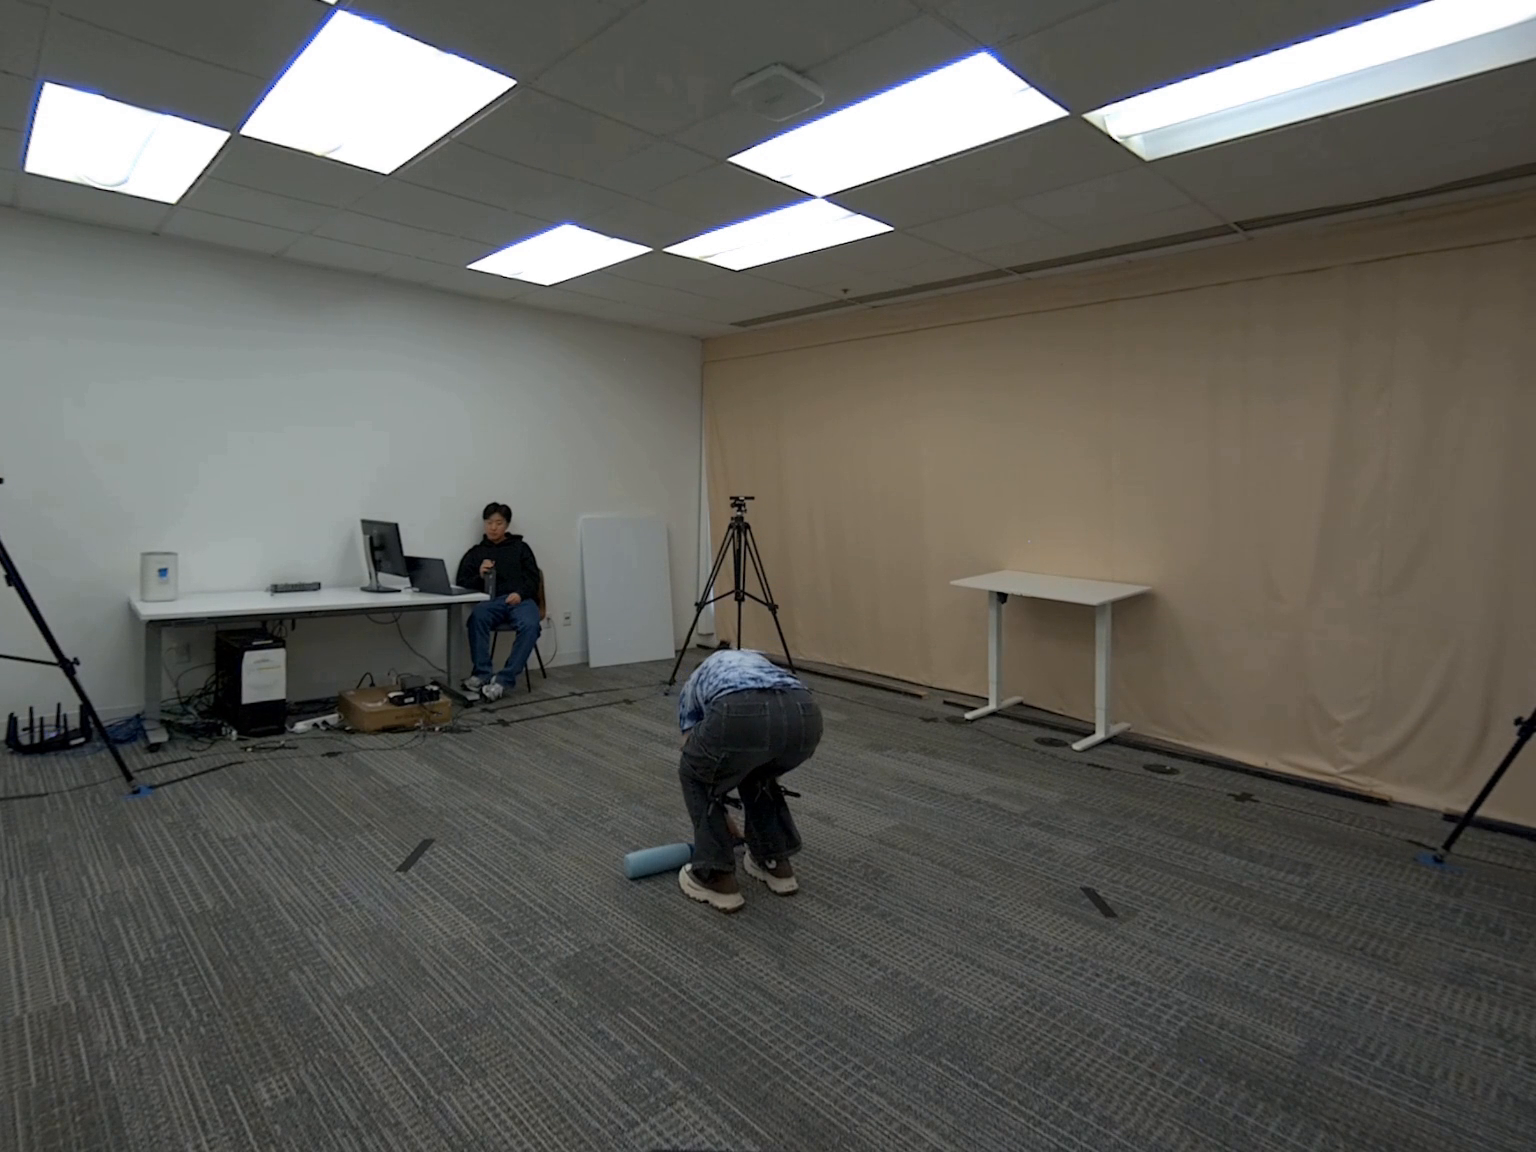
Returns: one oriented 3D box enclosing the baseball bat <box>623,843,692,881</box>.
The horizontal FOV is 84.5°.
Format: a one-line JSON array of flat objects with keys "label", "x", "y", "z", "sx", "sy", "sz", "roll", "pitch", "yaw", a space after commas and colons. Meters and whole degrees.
[{"label": "baseball bat", "x": -0.289, "y": 1.041, "z": 3.184, "sx": 0.532, "sy": 0.089, "sz": 0.091, "roll": -1, "pitch": 5, "yaw": -29}]
